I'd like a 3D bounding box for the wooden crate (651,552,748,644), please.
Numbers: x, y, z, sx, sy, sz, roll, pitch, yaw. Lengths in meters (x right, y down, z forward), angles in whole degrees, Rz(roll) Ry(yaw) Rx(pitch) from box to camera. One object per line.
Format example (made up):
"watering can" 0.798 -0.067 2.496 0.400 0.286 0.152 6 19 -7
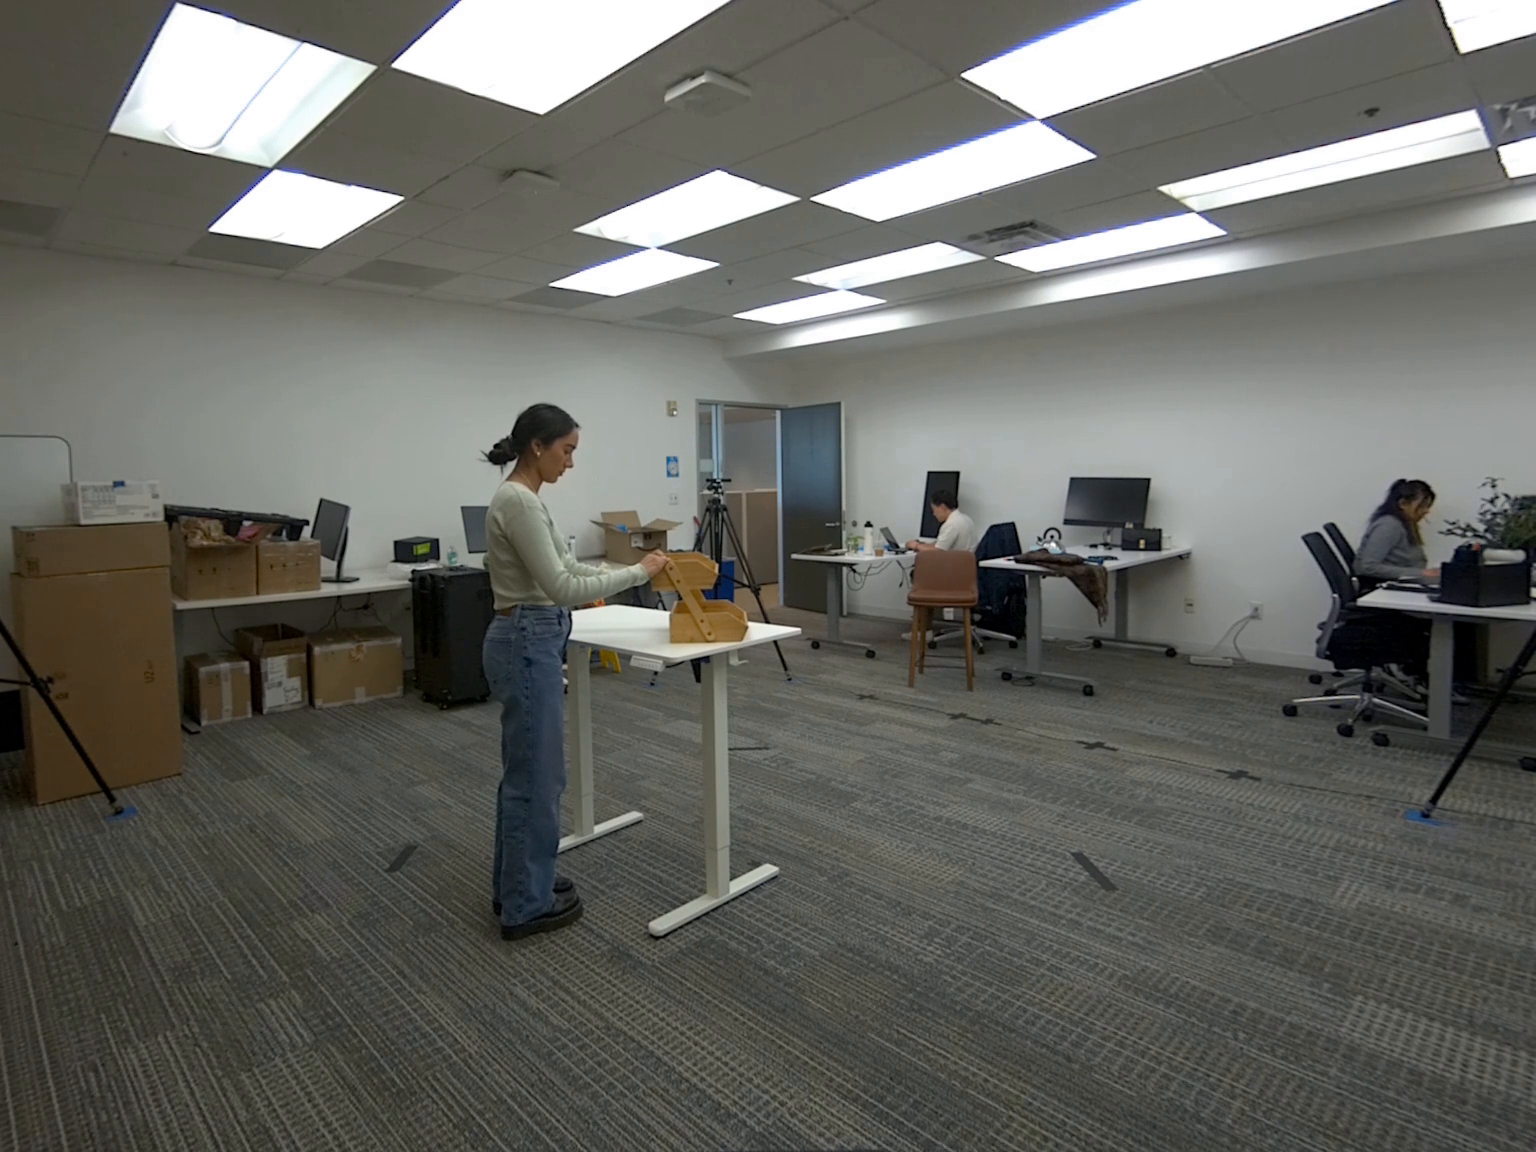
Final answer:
"wooden crate" -0.222 0.064 2.832 0.302 0.272 0.326 -1 4 -2
